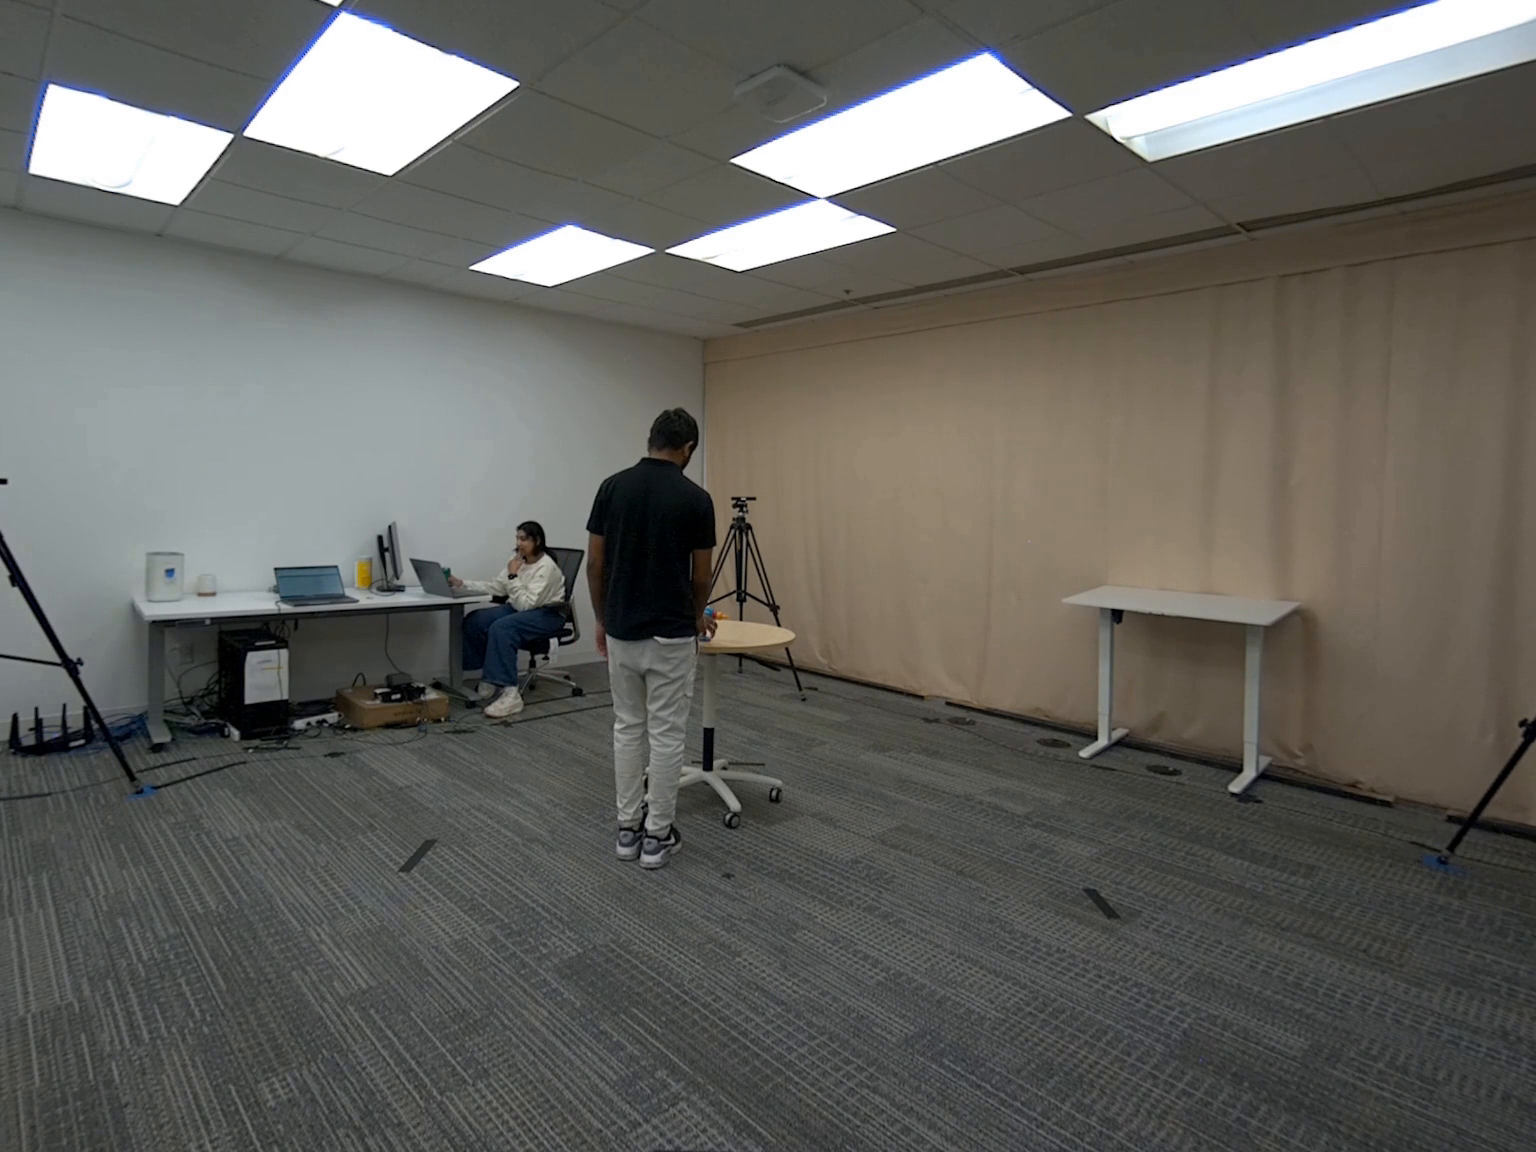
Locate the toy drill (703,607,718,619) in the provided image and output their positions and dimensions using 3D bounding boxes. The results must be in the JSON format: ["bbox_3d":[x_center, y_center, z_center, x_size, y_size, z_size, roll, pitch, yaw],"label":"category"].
[{"bbox_3d":[-0.252,0.211,3.583,0.172,0.145,0.060,3,7,18],"label":"toy drill"}]
